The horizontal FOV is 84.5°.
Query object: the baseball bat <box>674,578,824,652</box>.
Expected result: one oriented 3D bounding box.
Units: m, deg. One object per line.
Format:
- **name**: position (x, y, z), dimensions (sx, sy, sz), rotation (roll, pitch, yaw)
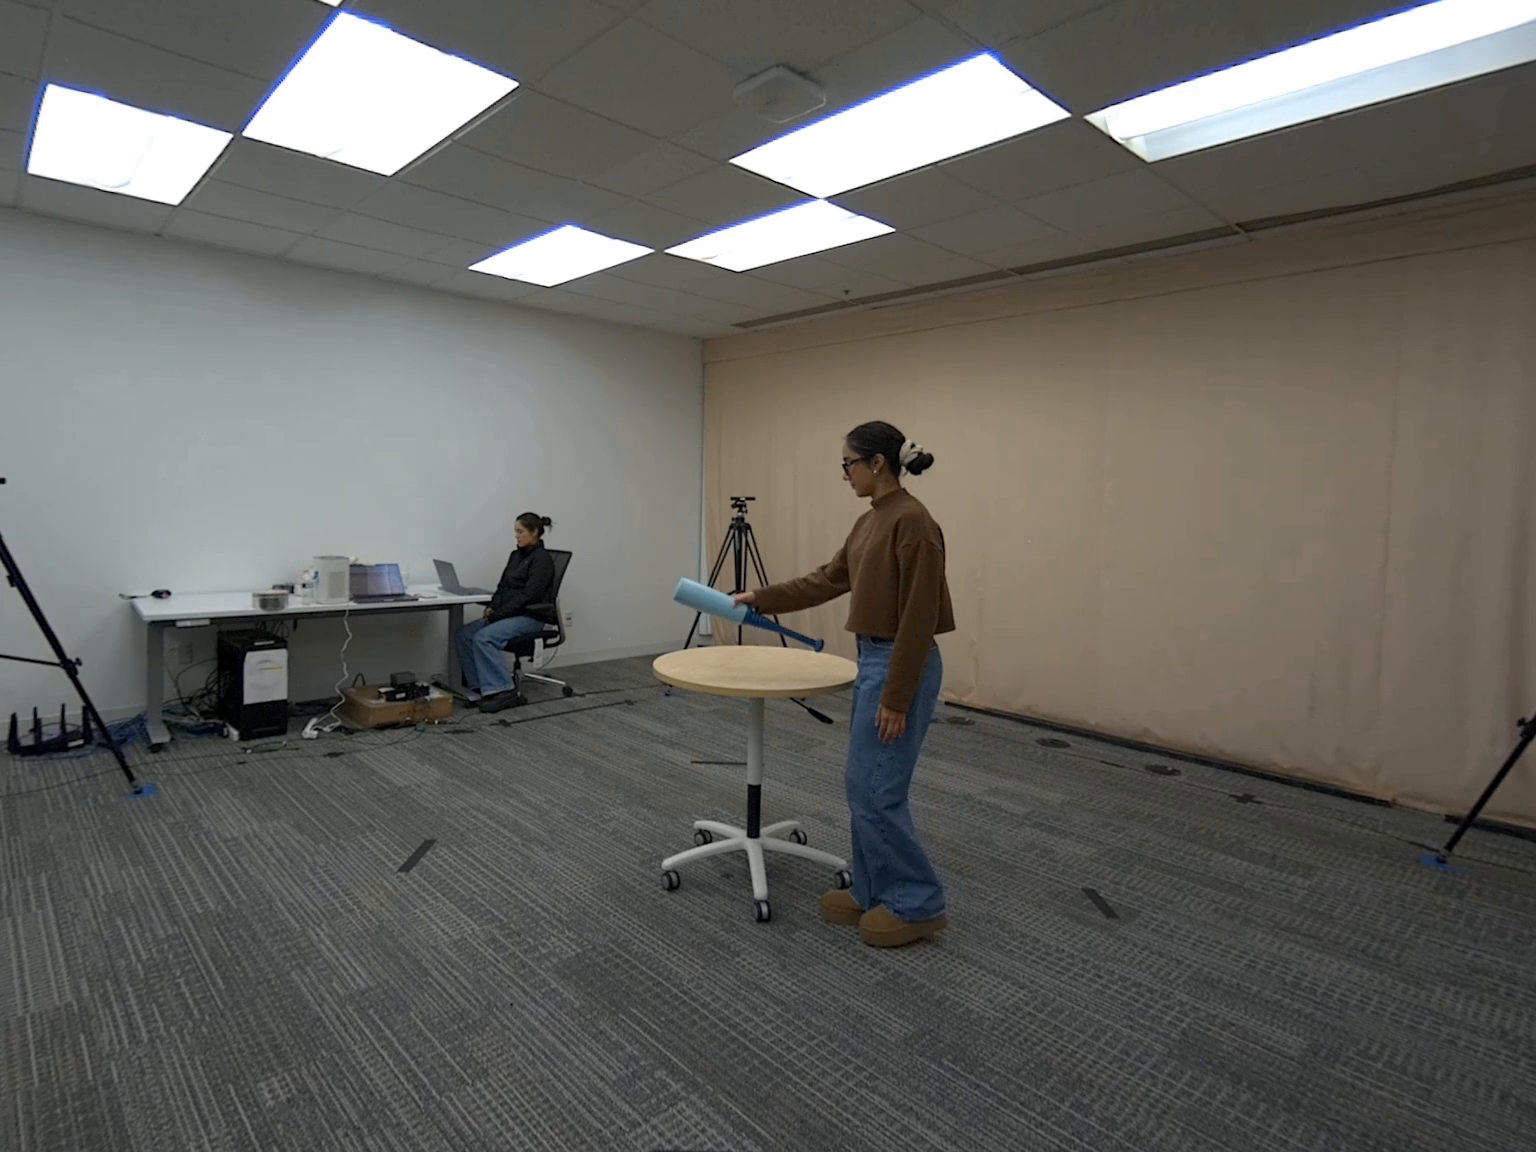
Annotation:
- **baseball bat**: position (-0.063, 0.144, 2.876), dimensions (0.542, 0.089, 0.089), rotation (22, 3, -2)
